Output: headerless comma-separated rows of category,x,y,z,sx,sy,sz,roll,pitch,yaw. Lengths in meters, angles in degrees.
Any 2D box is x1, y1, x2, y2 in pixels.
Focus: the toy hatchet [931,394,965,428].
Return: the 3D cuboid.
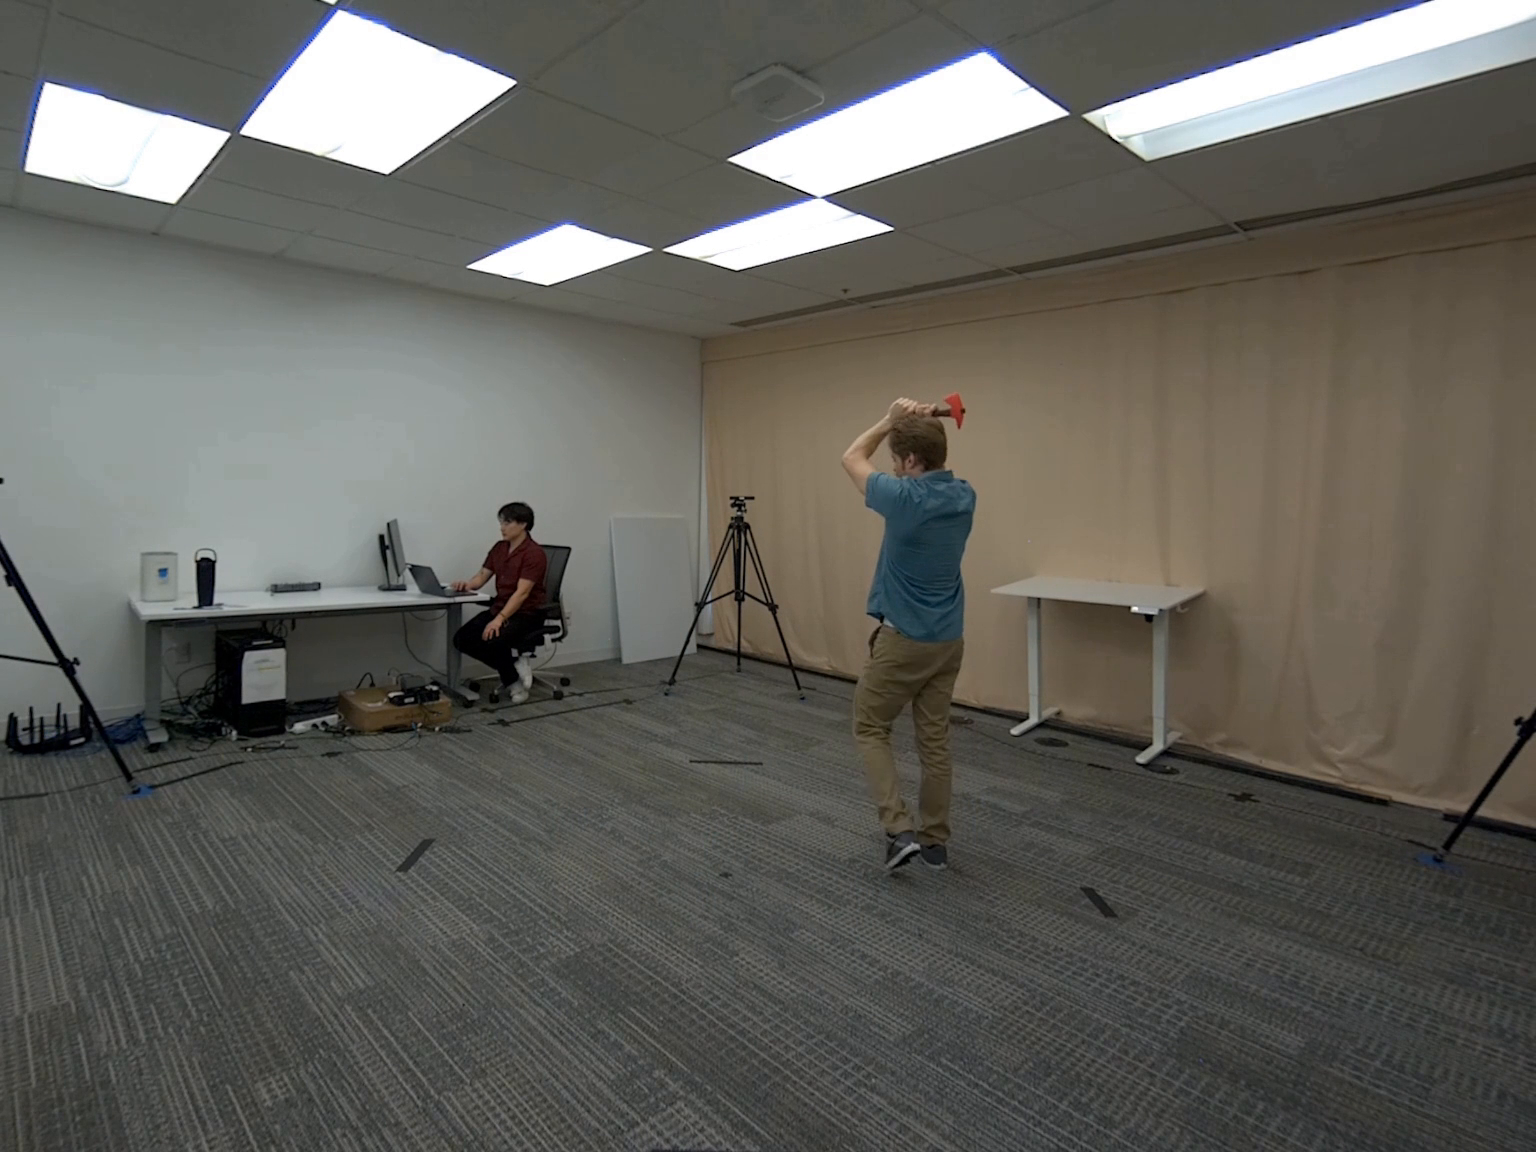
toy hatchet,0.624,-0.659,3.227,0.278,0.129,0.029,27,32,35
